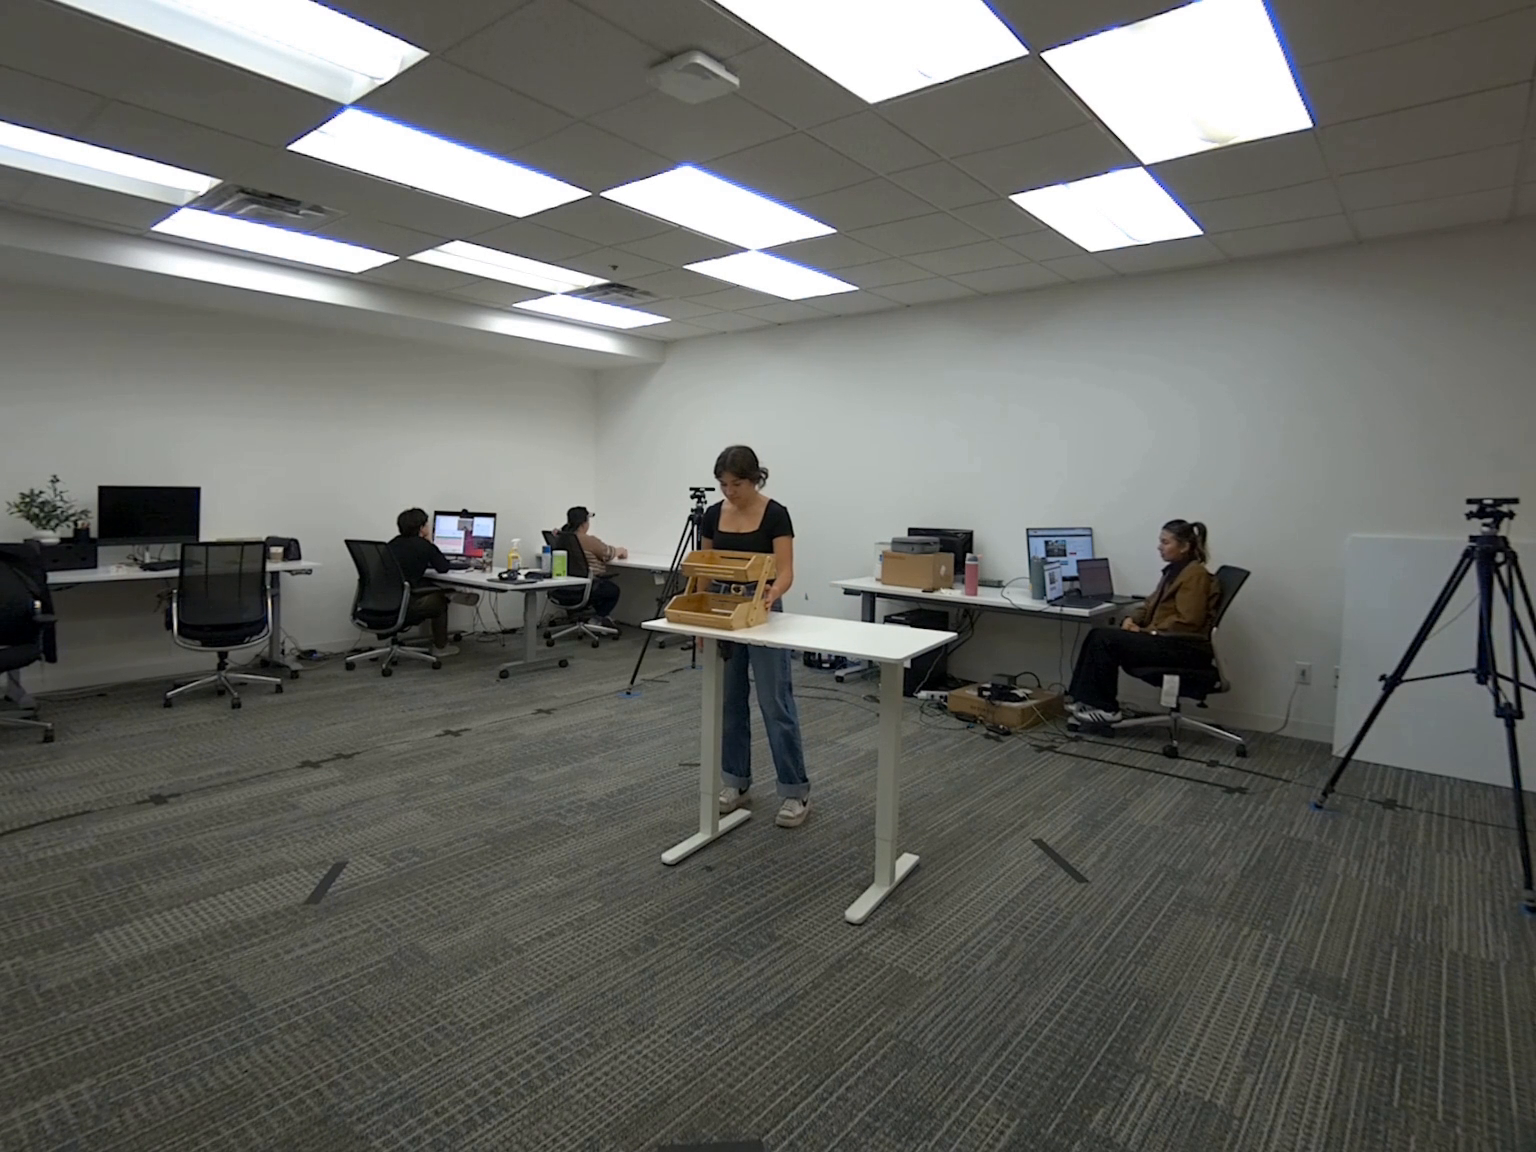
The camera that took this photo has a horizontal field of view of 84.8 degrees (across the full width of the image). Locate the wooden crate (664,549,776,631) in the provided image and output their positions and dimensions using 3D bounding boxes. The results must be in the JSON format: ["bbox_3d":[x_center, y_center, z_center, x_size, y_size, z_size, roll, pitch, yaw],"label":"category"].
[{"bbox_3d":[-0.186,0.037,3.217,0.334,0.272,0.294,5,4,32],"label":"wooden crate"}]
